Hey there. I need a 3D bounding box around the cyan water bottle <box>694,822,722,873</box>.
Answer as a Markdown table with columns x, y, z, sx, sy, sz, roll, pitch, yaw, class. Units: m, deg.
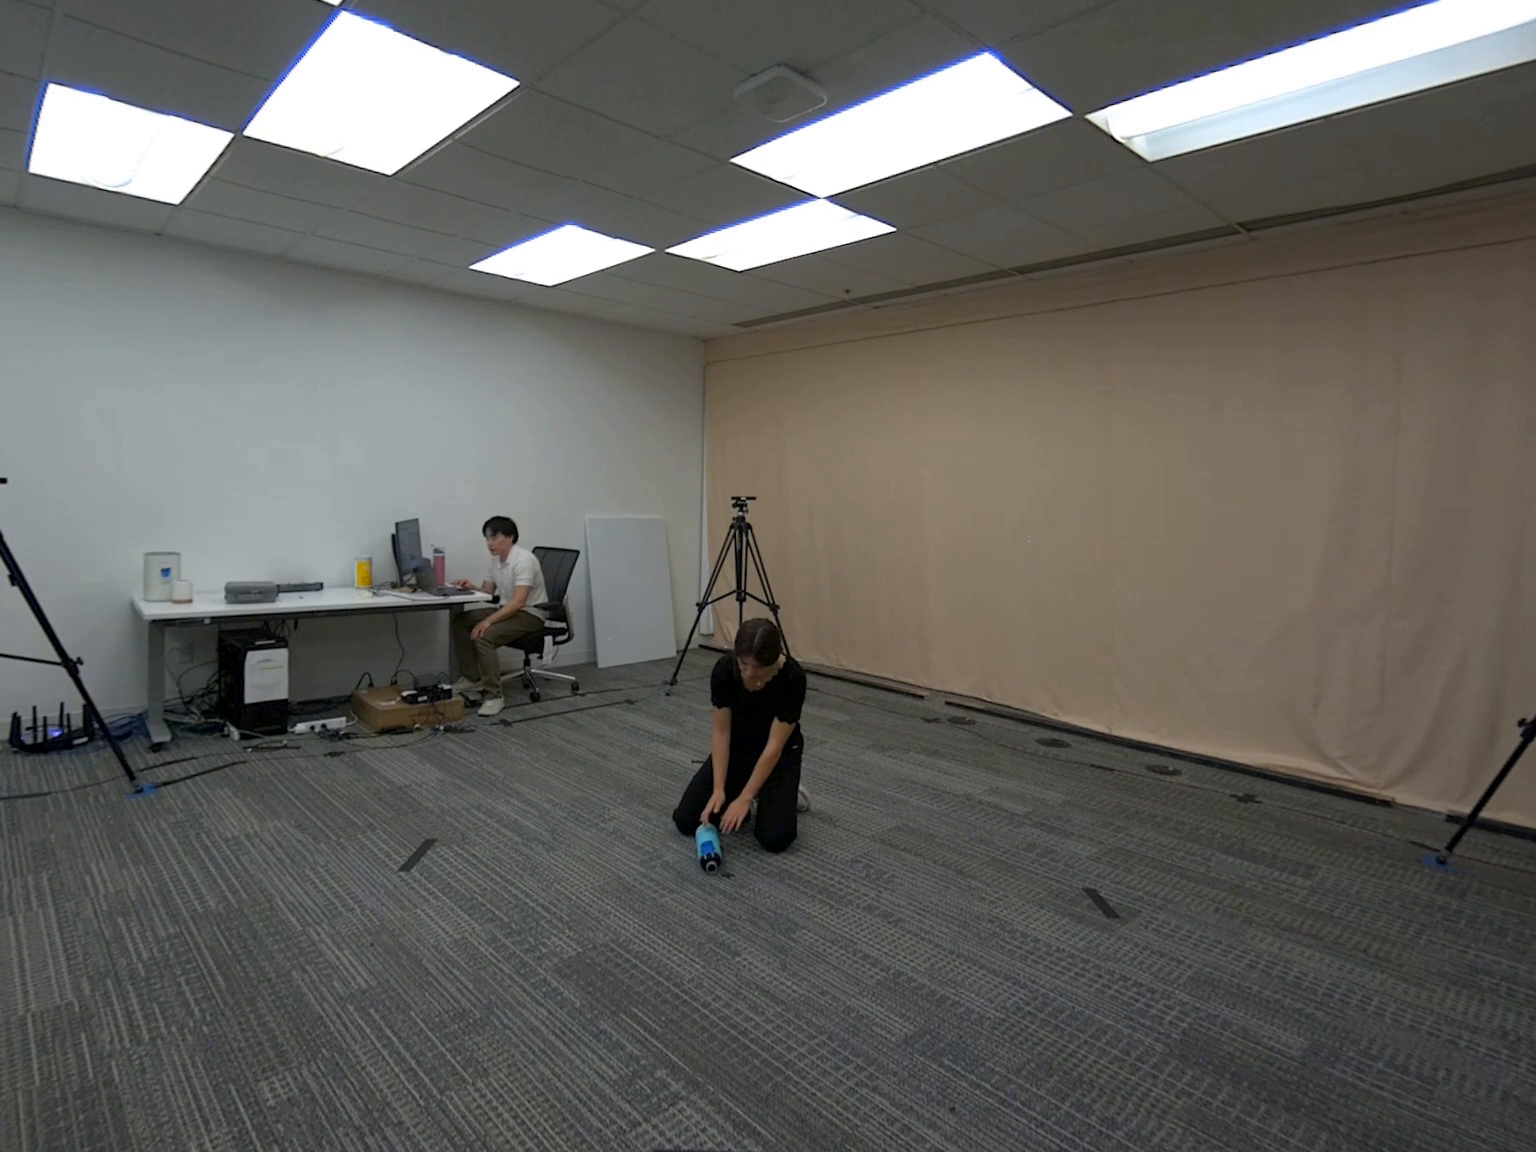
| x | y | z | sx | sy | sz | roll | pitch | yaw | class |
| --- | --- | --- | --- | --- | --- | --- | --- | --- | --- |
| -0.239 | 1.048 | 3.232 | 0.092 | 0.092 | 0.285 | 1 | 5 | -4 | cyan water bottle |
